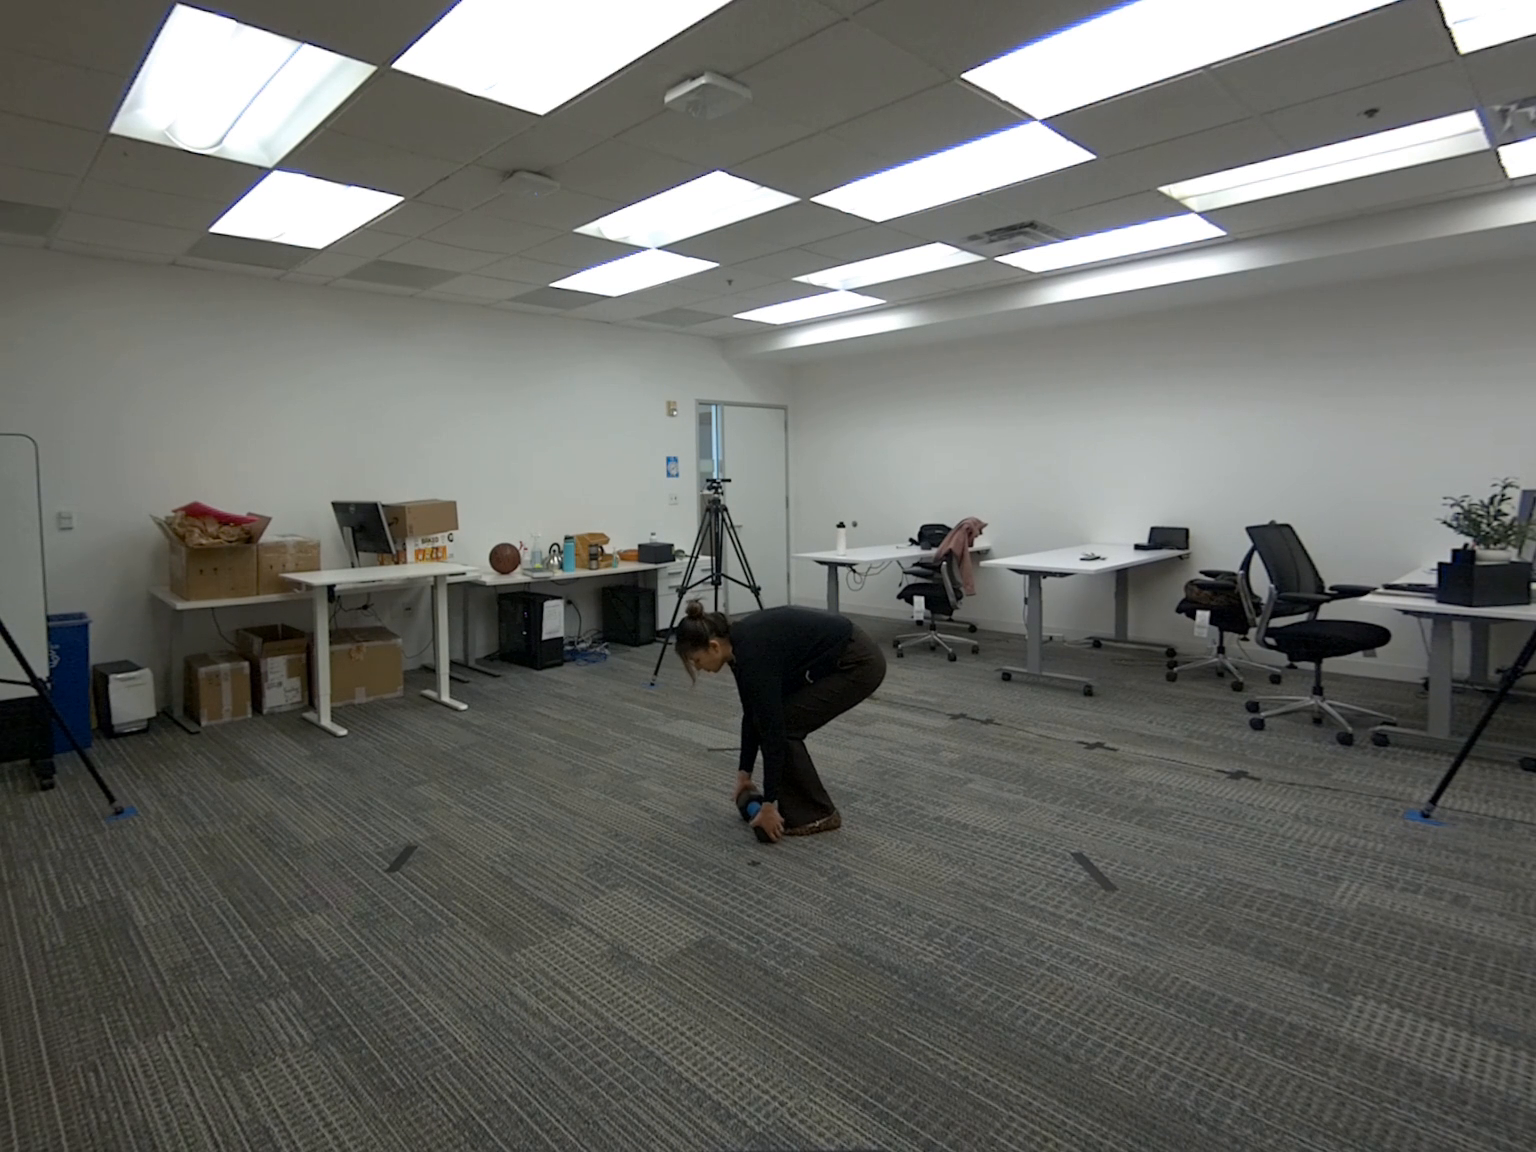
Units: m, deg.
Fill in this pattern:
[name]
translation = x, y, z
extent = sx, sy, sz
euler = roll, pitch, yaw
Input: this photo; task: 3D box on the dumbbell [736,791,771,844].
[dumbbell]
translation = -0.035, 0.940, 3.407
extent = 0.108, 0.121, 0.298
euler = -25, 11, -10
